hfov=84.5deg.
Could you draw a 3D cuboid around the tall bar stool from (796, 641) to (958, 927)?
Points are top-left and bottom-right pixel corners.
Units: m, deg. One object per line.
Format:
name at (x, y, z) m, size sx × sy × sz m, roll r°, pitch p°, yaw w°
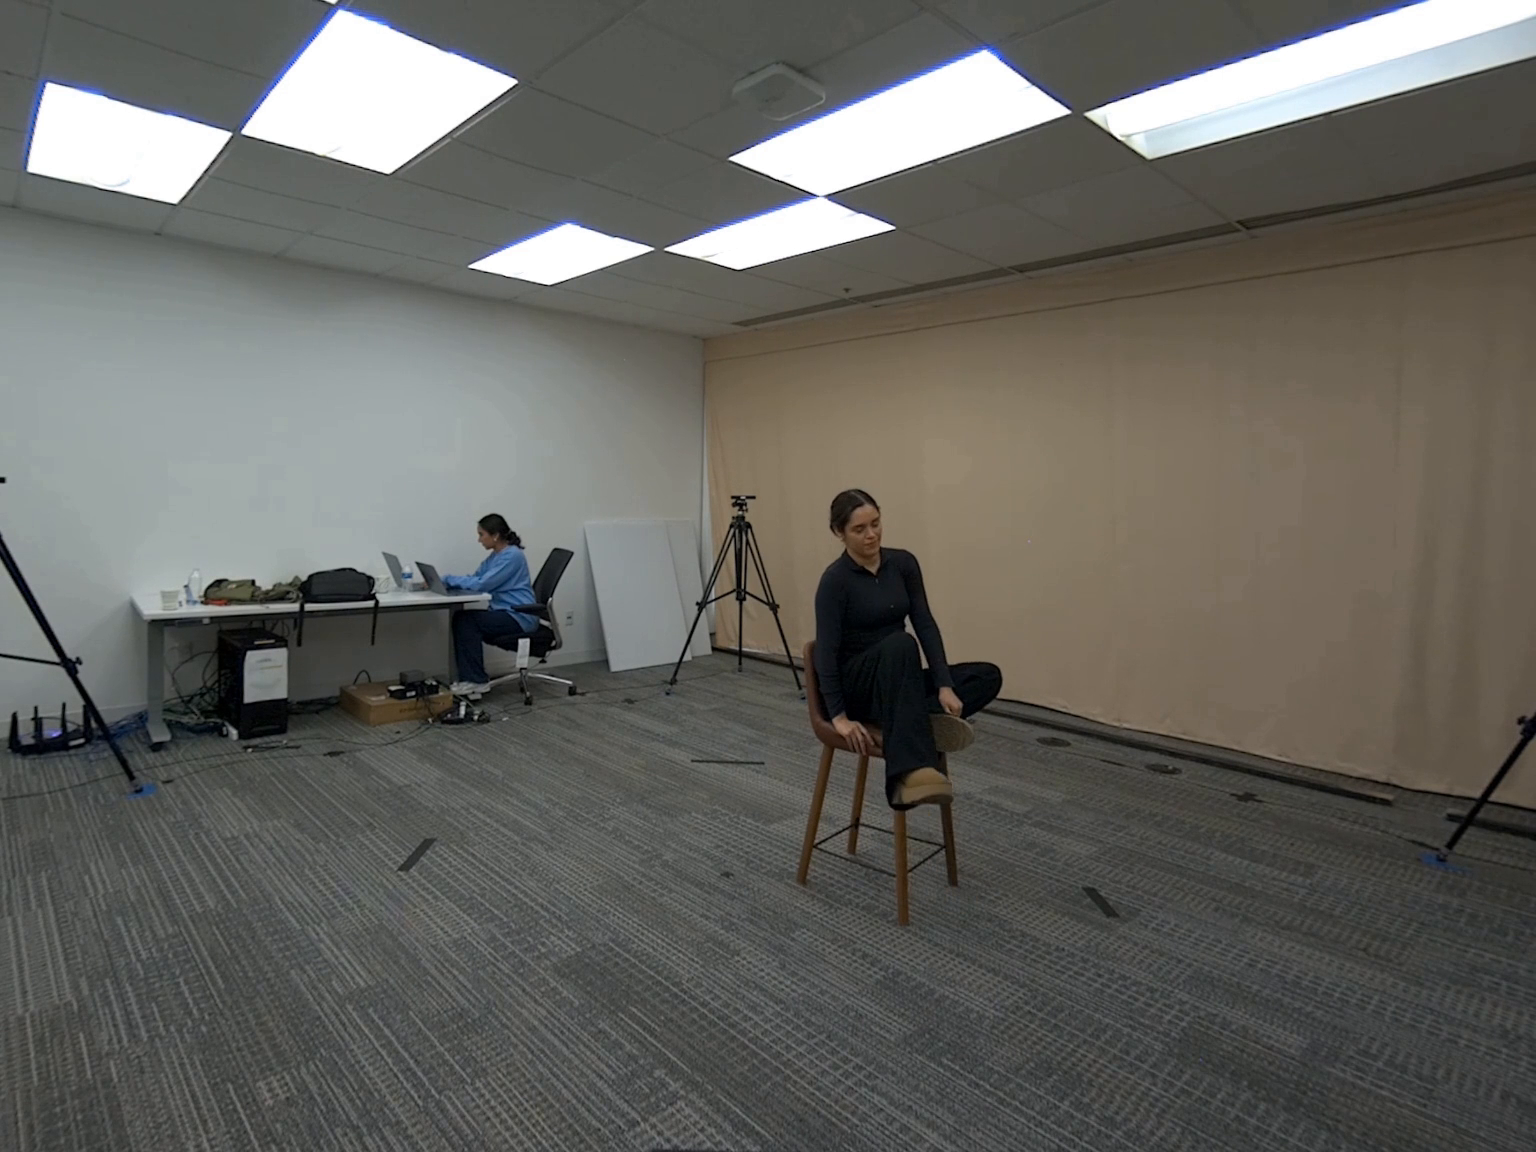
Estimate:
tall bar stool at (0.394, 0.689, 3.031) m, size 0.479 × 0.888 × 0.446 m, roll 2°, pitch 3°, yaw 39°
